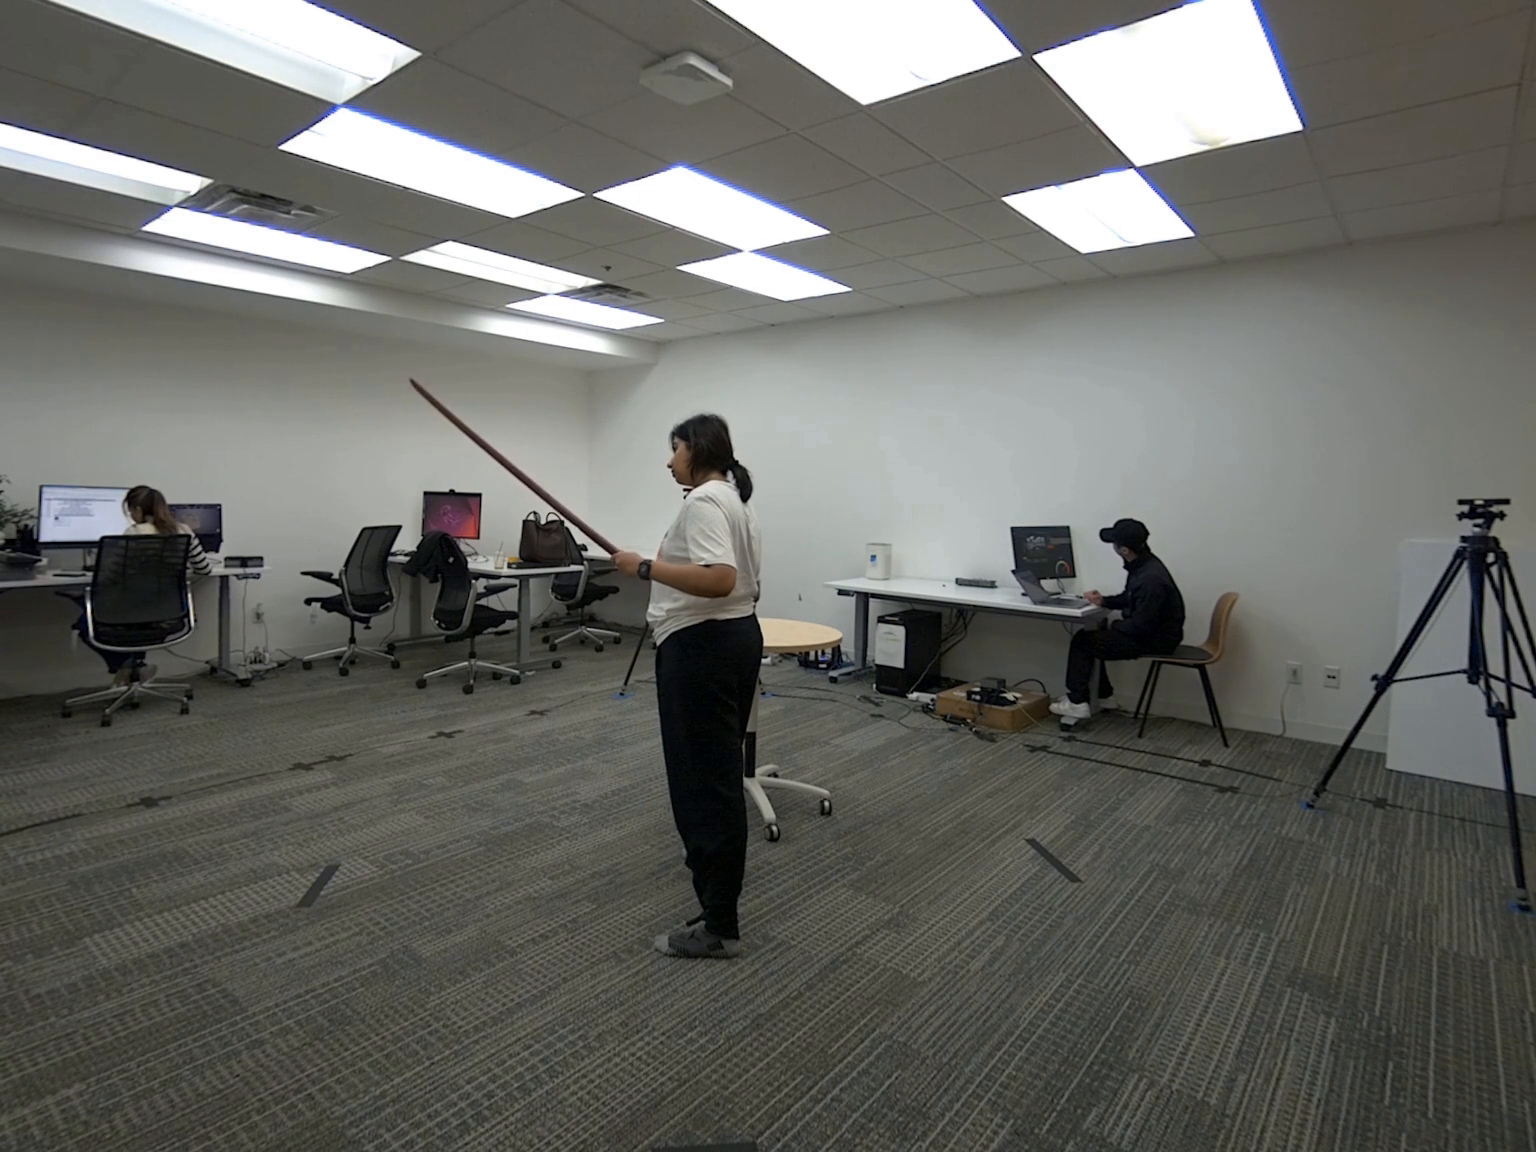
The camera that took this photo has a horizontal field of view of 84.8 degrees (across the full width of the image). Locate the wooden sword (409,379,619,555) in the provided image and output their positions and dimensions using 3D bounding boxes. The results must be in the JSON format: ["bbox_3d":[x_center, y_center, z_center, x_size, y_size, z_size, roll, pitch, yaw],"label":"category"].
[{"bbox_3d":[-0.783,-0.314,2.696,1.040,0.024,0.050,39,-19,10],"label":"wooden sword"}]
